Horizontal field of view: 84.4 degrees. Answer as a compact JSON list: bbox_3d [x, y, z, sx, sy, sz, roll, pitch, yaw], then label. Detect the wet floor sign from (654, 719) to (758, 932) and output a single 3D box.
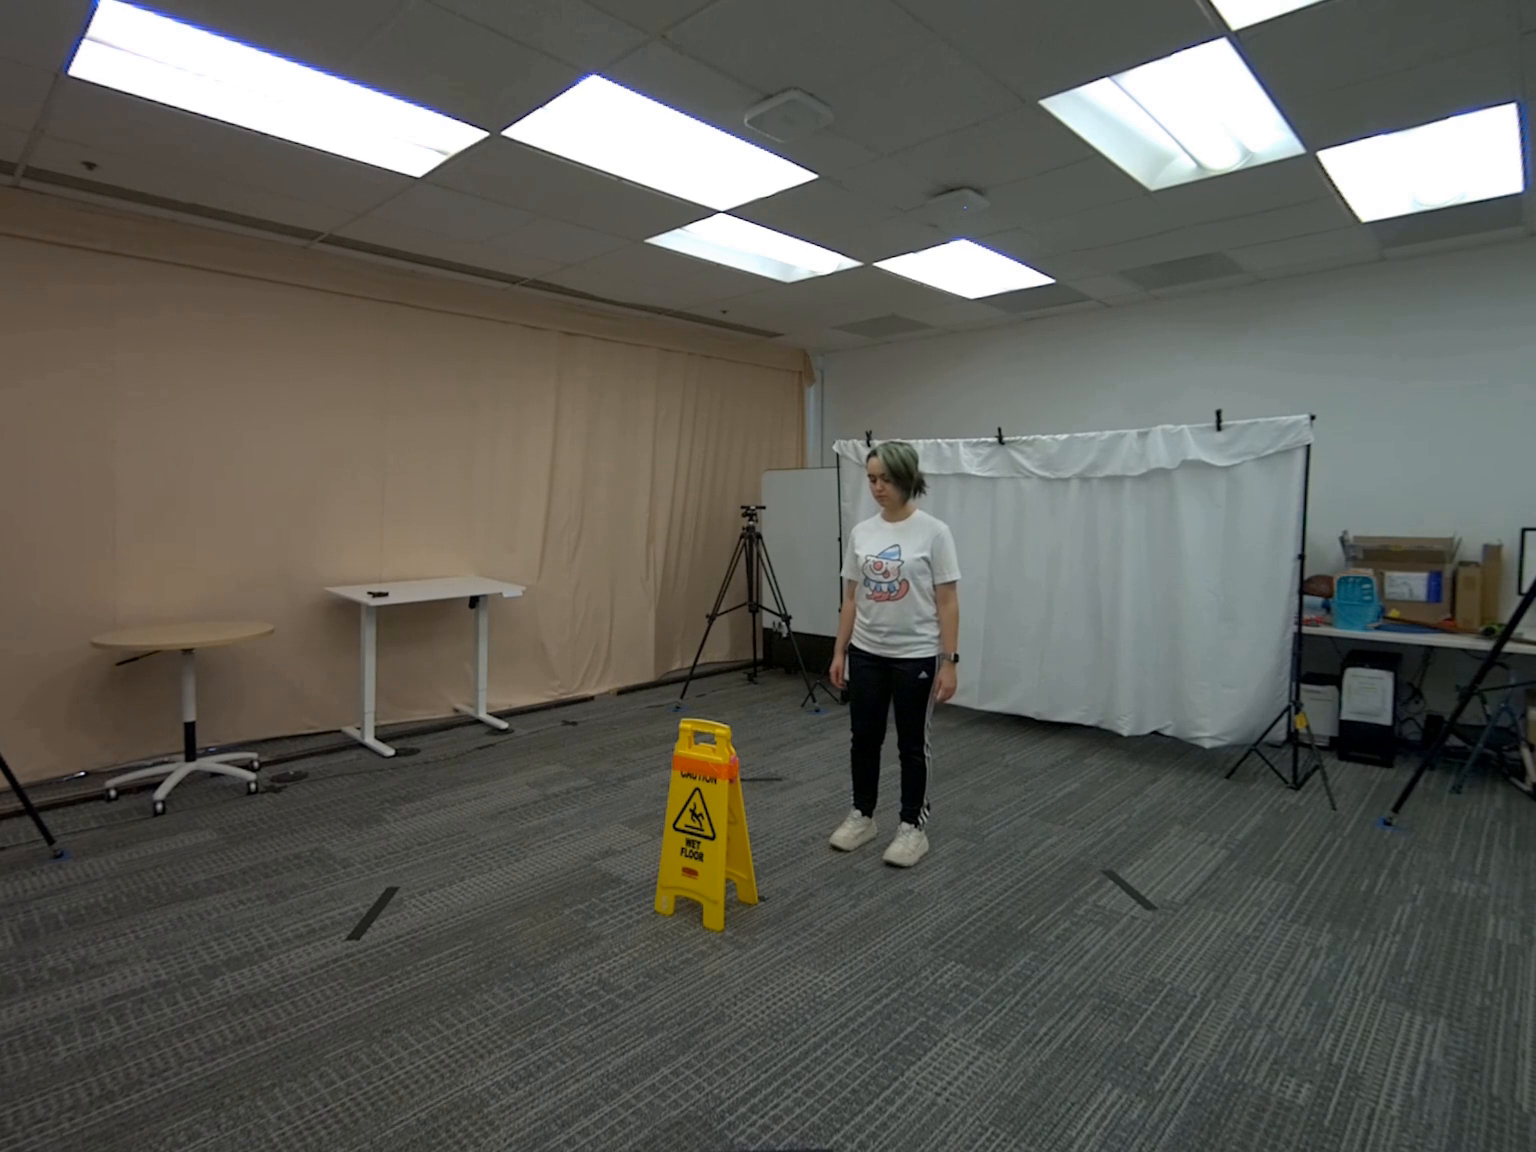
[{"bbox_3d":[-0.214,0.826,2.899,0.290,0.644,0.282,1,4,31],"label":"wet floor sign"}]
